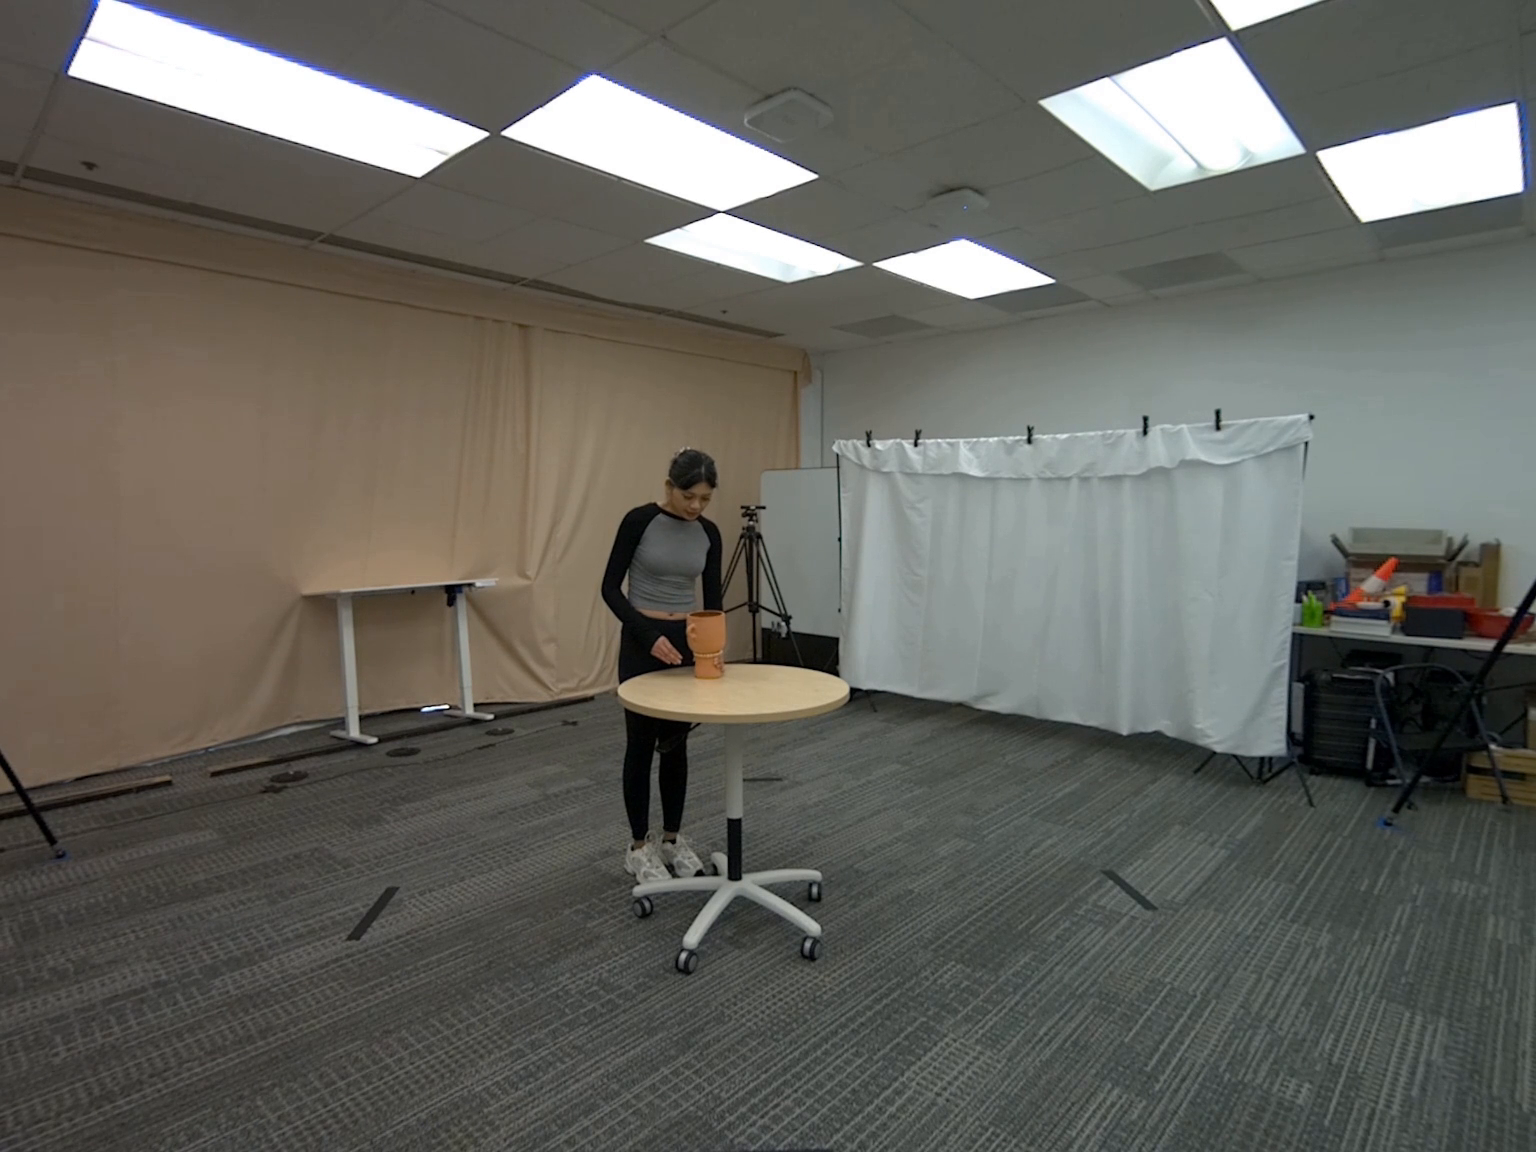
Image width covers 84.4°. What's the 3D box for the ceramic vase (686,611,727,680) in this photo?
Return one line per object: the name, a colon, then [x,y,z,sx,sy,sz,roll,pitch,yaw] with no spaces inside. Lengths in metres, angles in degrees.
ceramic vase: [-0.210,0.240,2.965,0.157,0.219,0.137,-4,7,-12]
